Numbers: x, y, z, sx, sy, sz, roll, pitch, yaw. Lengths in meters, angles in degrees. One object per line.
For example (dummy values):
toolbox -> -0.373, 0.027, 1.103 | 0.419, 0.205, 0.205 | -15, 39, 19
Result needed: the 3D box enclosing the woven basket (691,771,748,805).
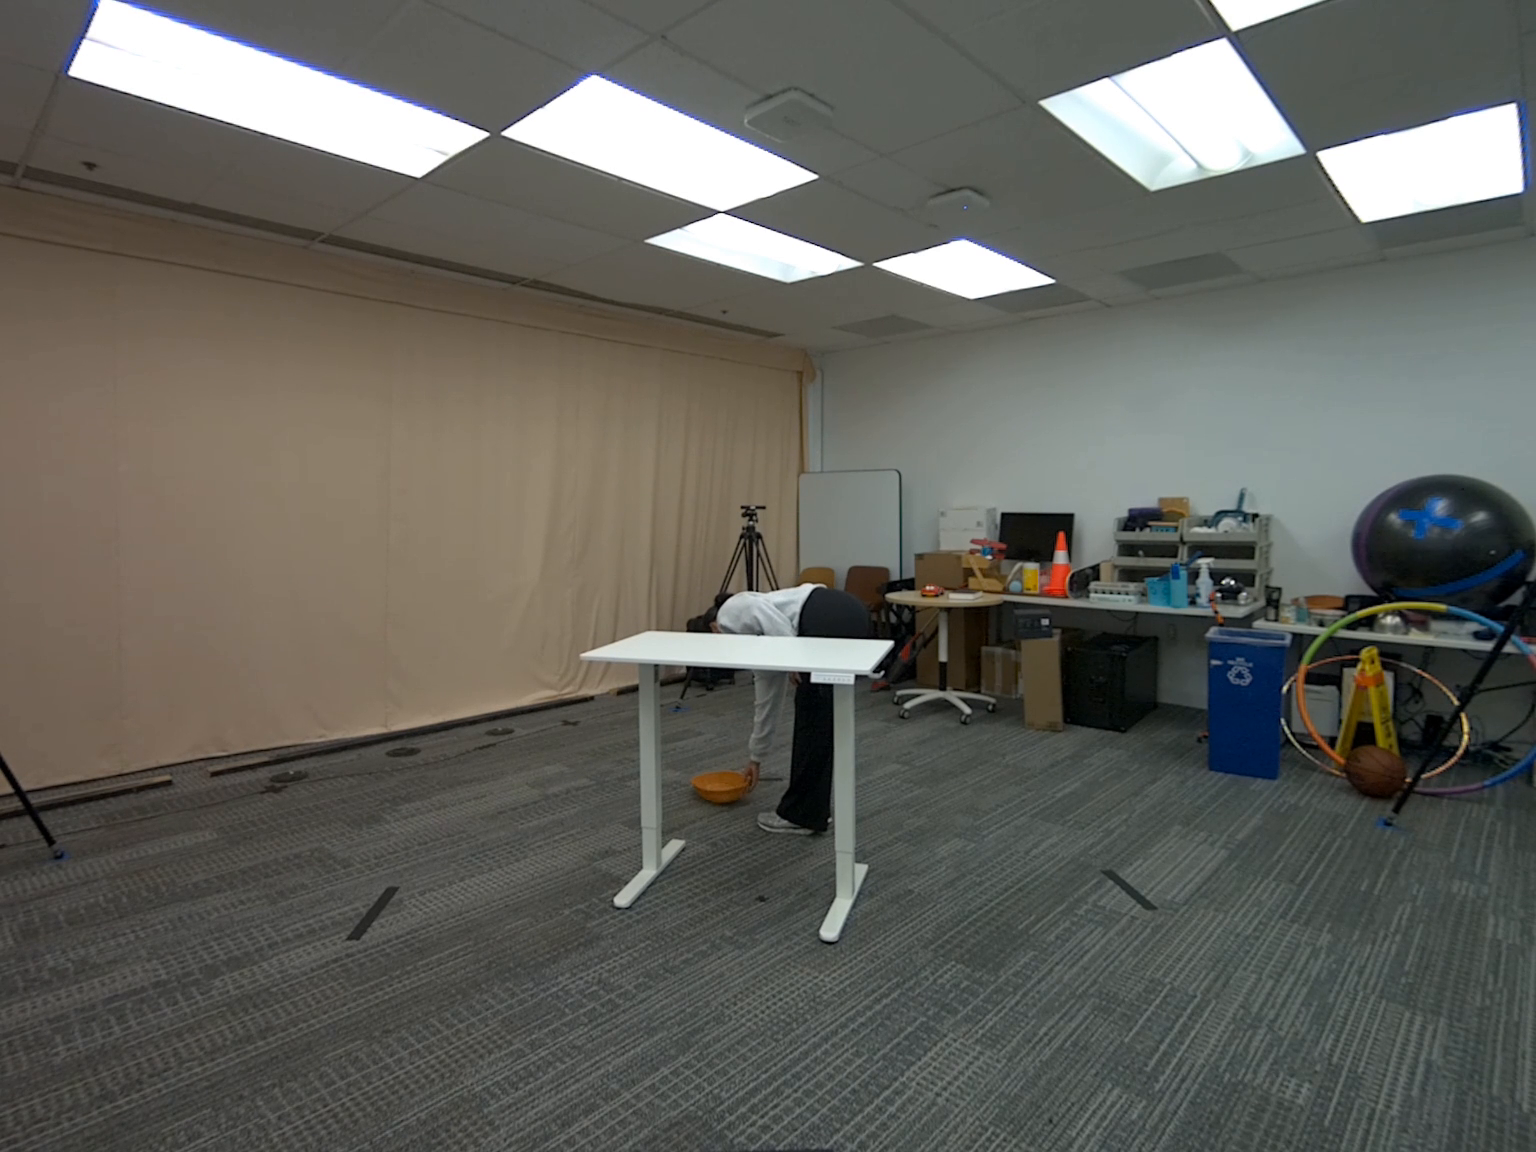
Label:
woven basket -> -0.227, 1.005, 4.040 | 0.247, 0.073, 0.358 | -6, 3, -24
